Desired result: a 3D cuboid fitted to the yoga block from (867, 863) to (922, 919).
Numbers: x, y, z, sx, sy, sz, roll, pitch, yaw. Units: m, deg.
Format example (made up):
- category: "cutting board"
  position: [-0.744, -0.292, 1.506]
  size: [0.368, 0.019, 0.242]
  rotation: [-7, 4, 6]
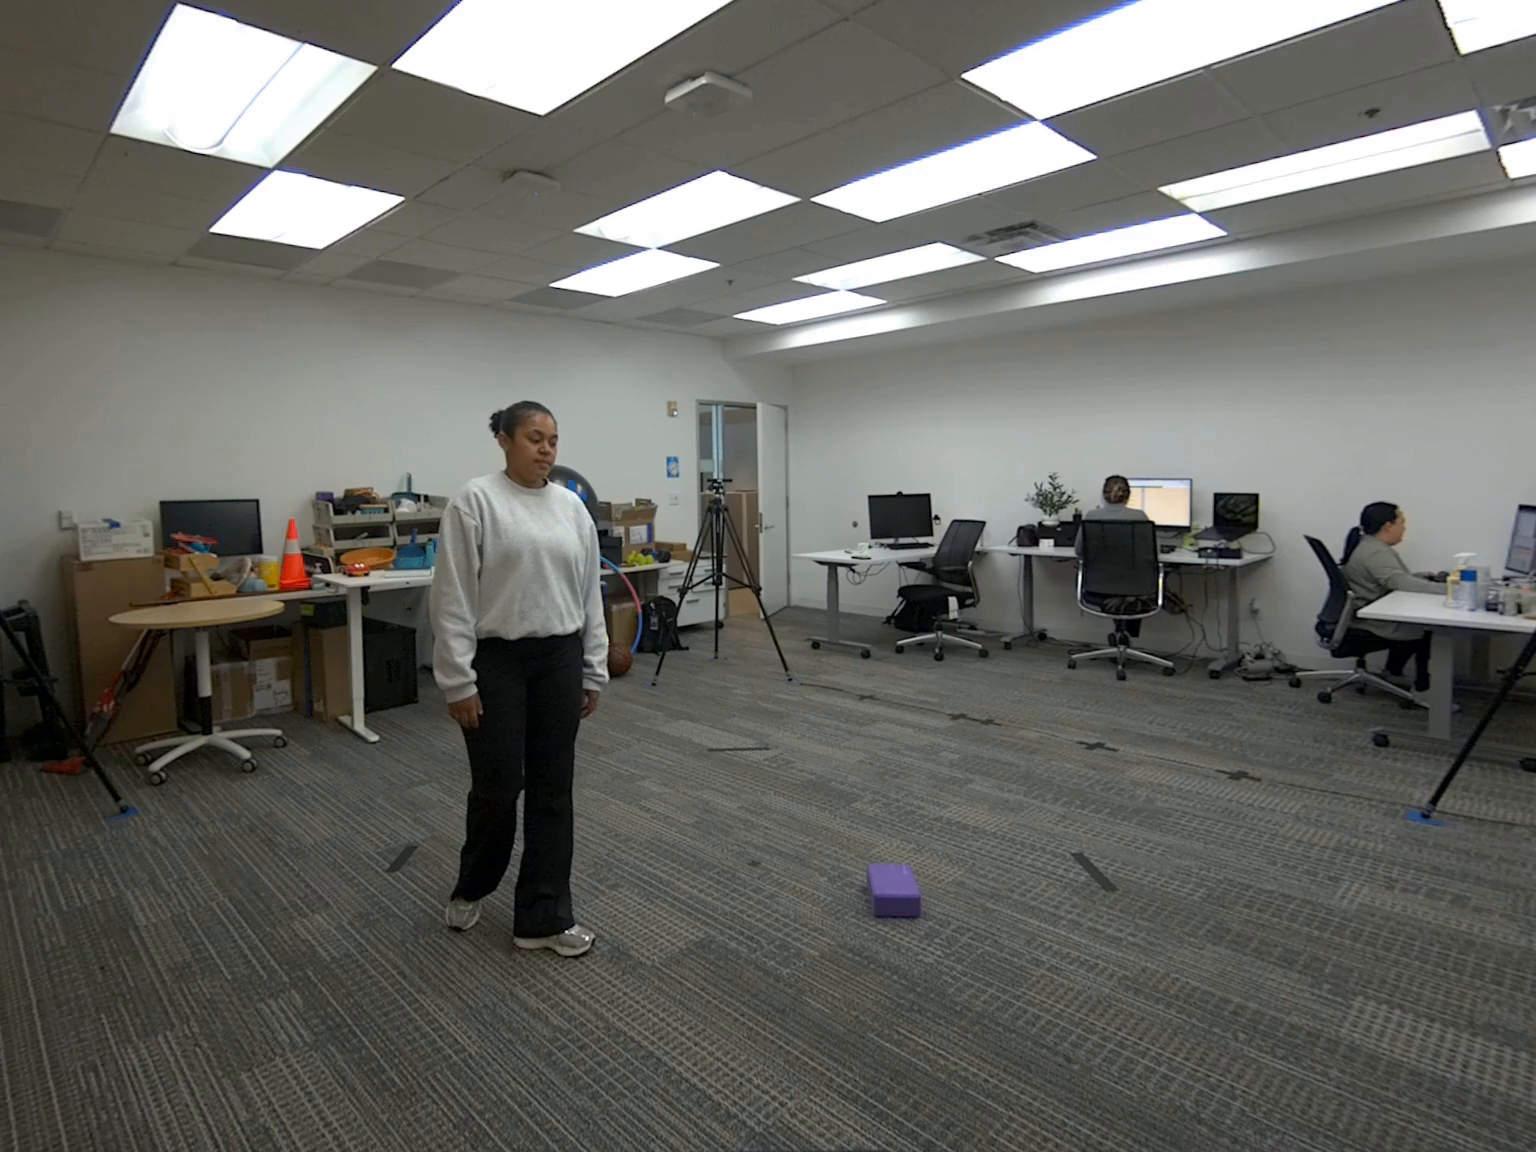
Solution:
- category: "yoga block"
  position: [0.416, 1.031, 2.810]
  size: [0.149, 0.076, 0.230]
  rotation: [-3, 6, 2]
